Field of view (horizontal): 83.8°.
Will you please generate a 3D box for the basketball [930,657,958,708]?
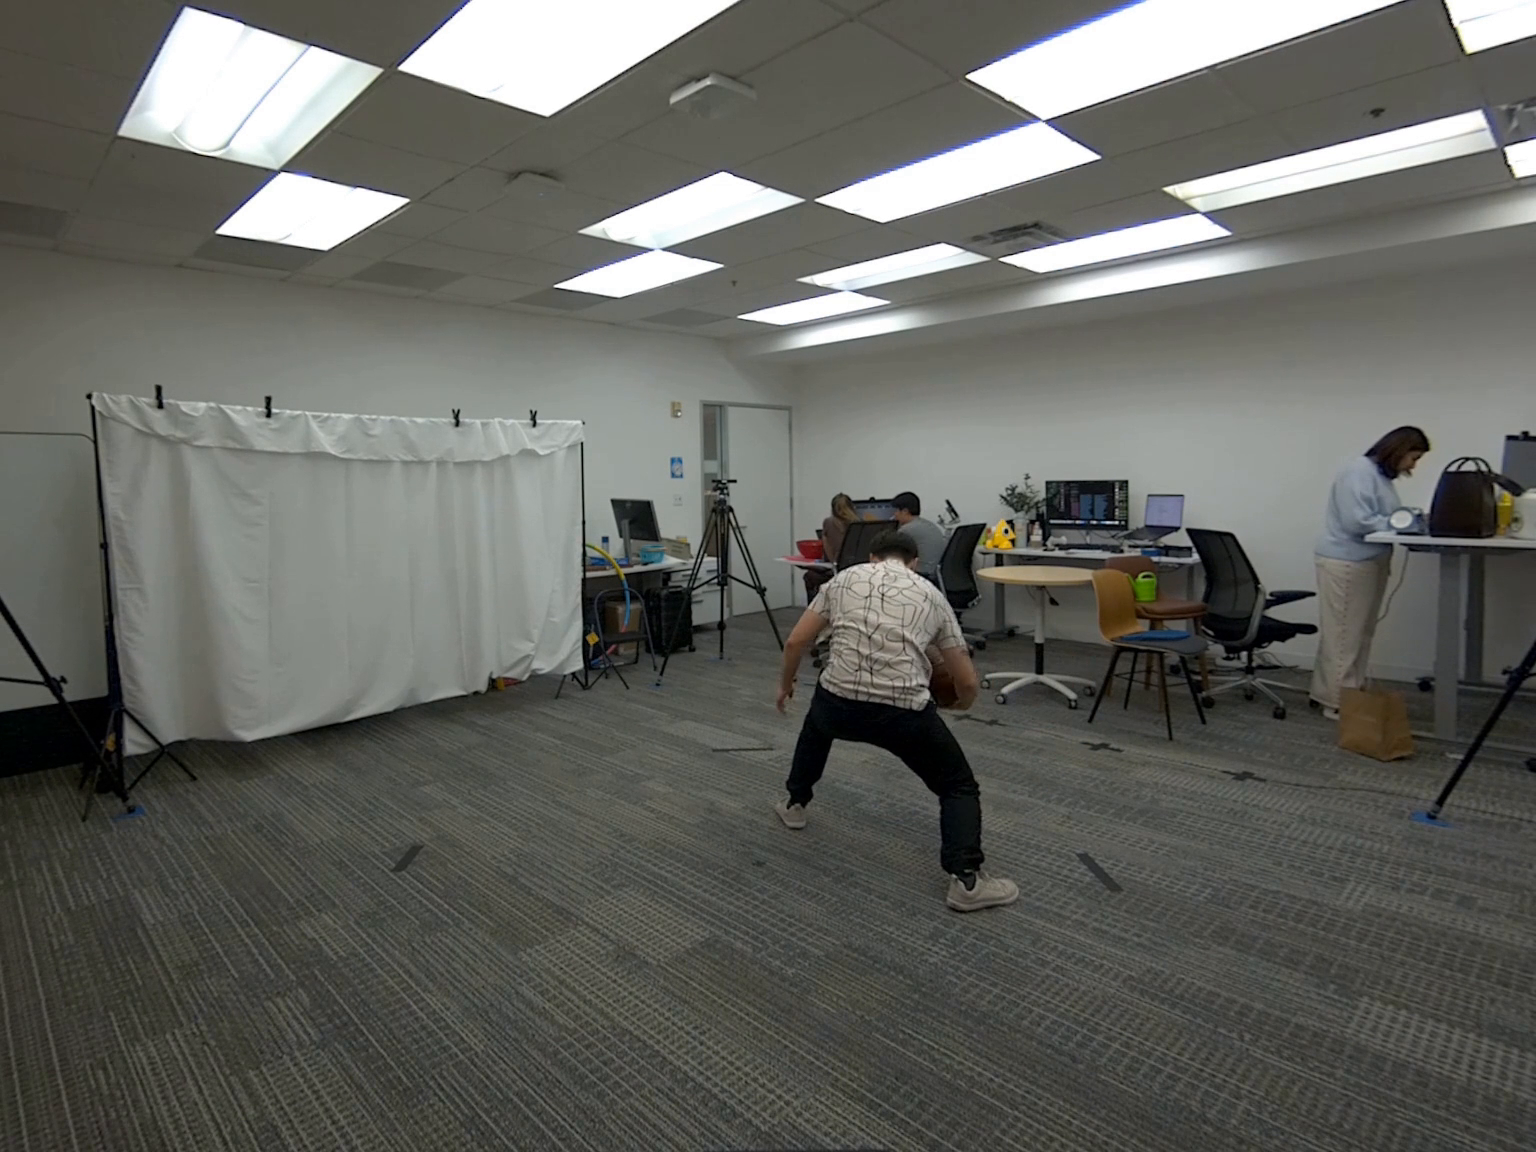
[{"bbox_3d":[0.670,0.402,3.377,0.236,0.235,0.237,-1,5,-2],"label":"basketball"}]
